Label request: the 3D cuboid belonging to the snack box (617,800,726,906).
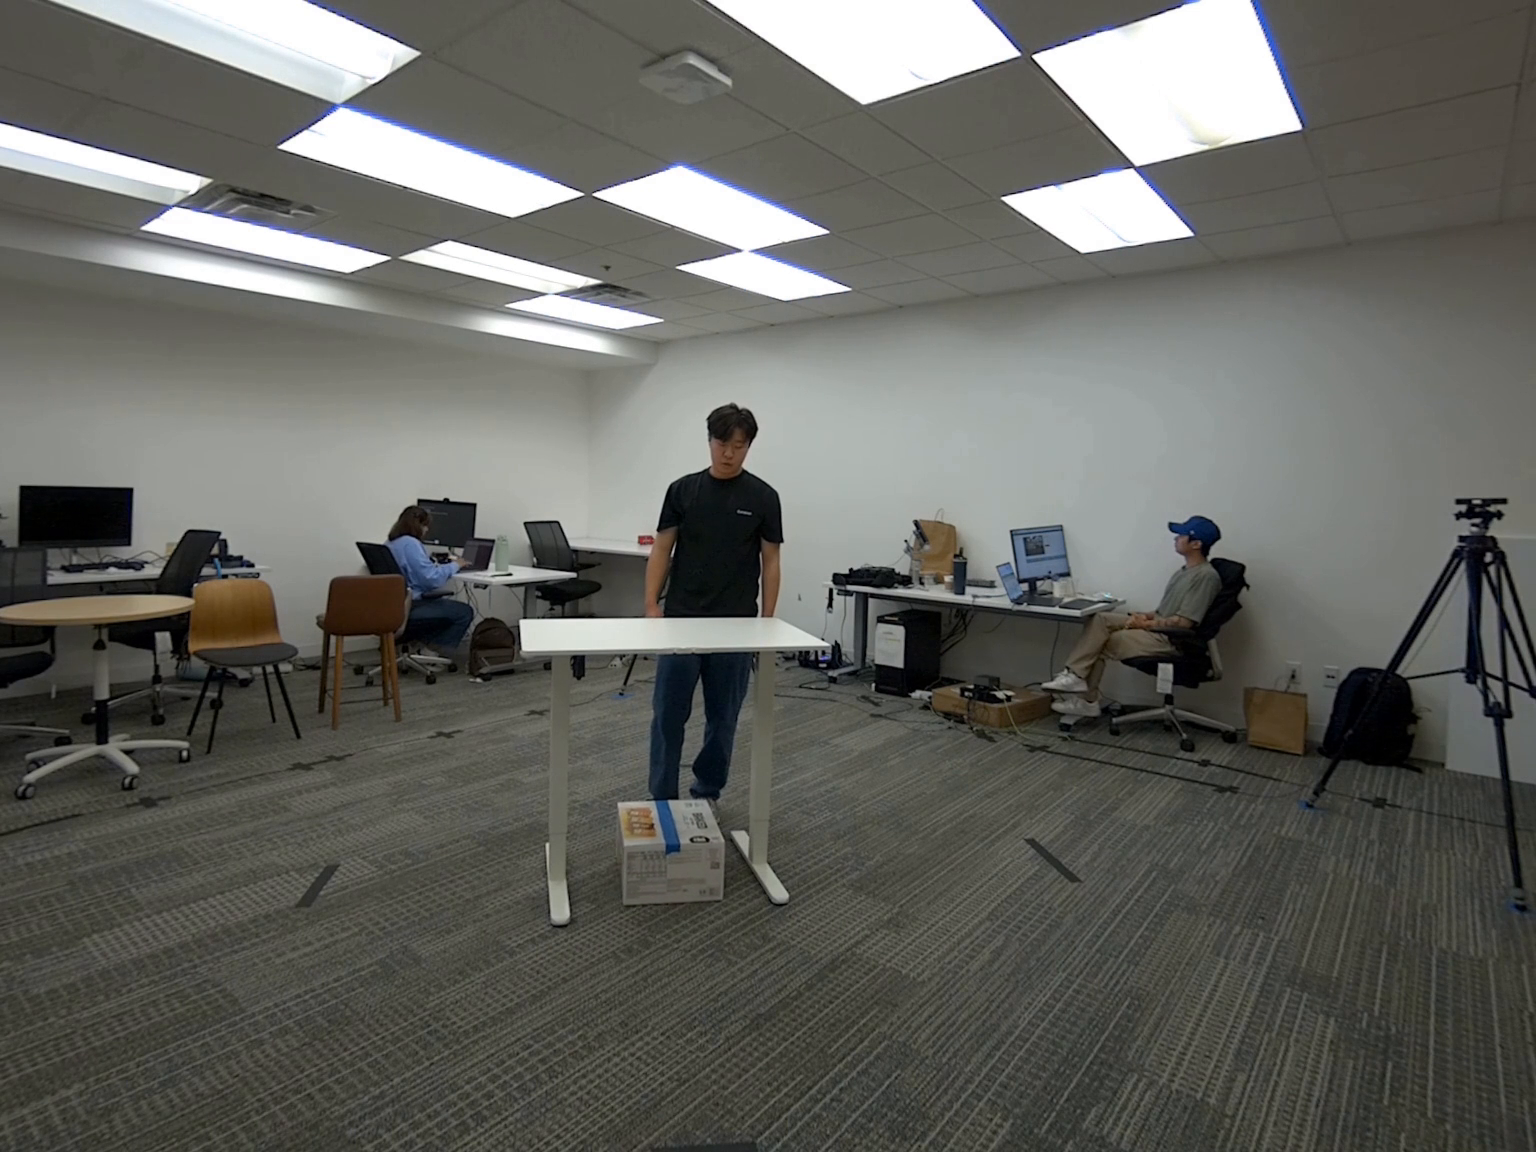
[{"bbox_3d":[-0.370,0.971,3.033,0.336,0.205,0.412,0,5,-12],"label":"snack box"}]
